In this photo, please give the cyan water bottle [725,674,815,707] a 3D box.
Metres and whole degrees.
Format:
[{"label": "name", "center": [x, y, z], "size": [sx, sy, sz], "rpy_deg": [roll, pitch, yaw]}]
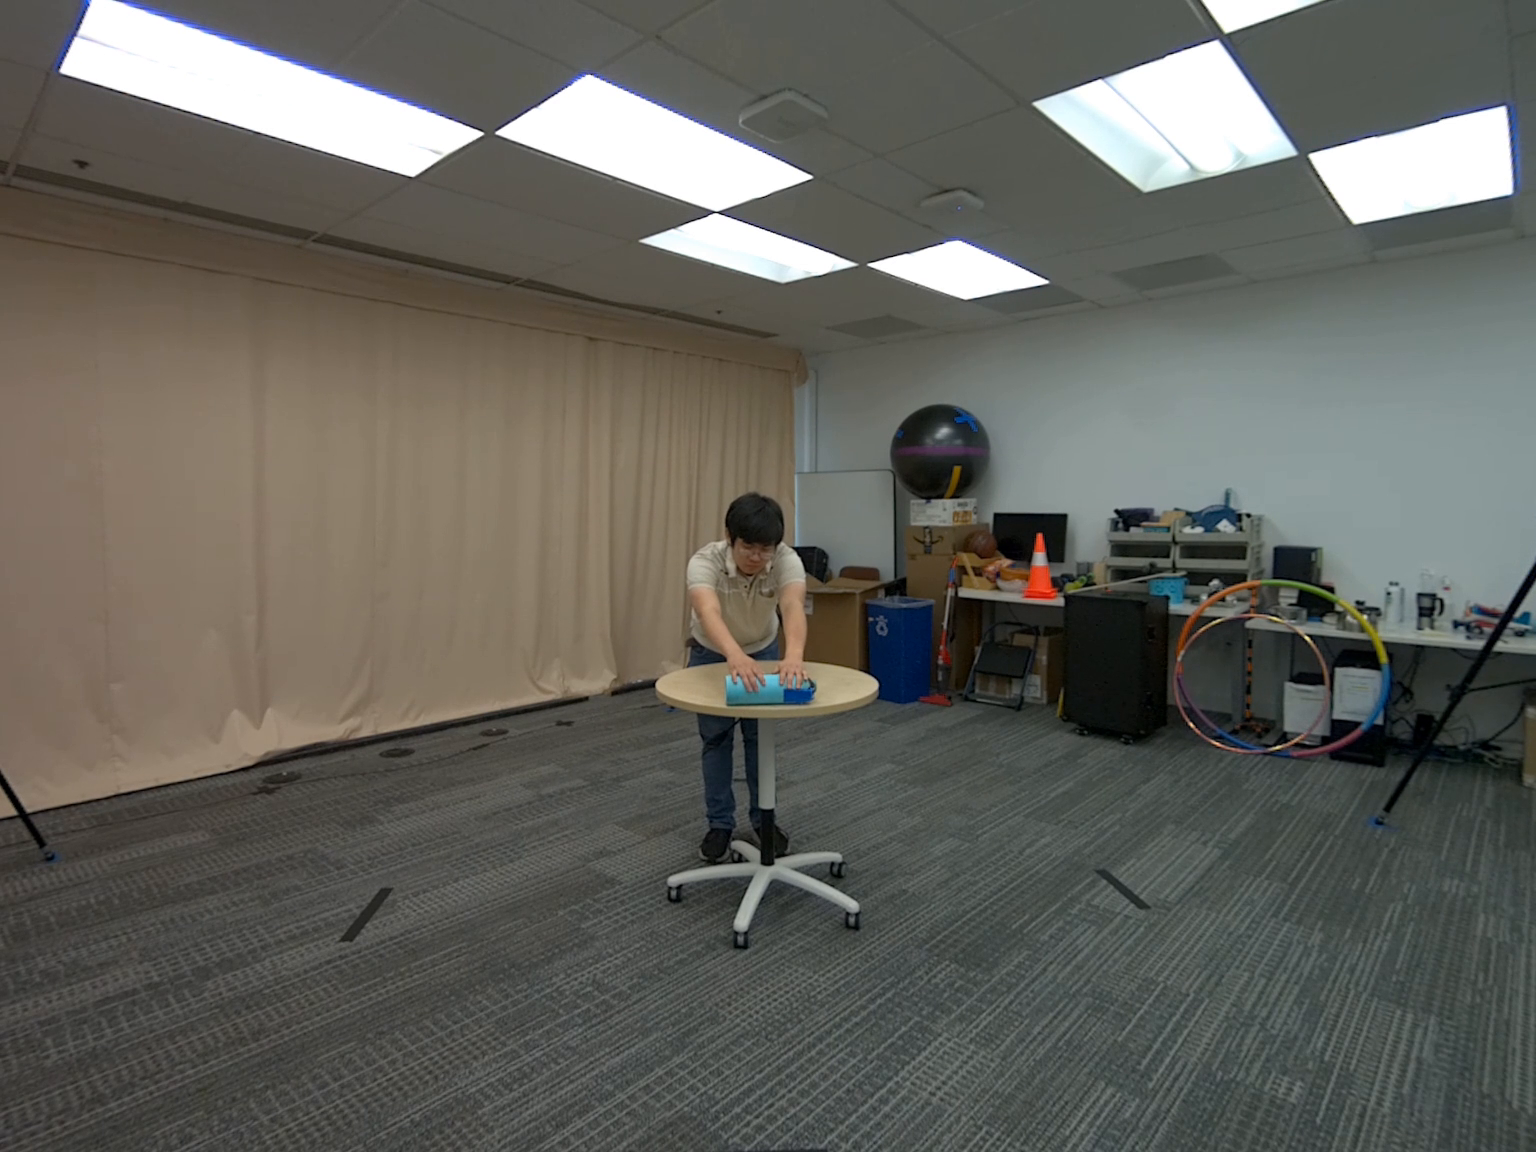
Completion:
[{"label": "cyan water bottle", "center": [0.016, 0.353, 2.603], "size": [0.283, 0.092, 0.092], "rpy_deg": [1, 4, -1]}]
